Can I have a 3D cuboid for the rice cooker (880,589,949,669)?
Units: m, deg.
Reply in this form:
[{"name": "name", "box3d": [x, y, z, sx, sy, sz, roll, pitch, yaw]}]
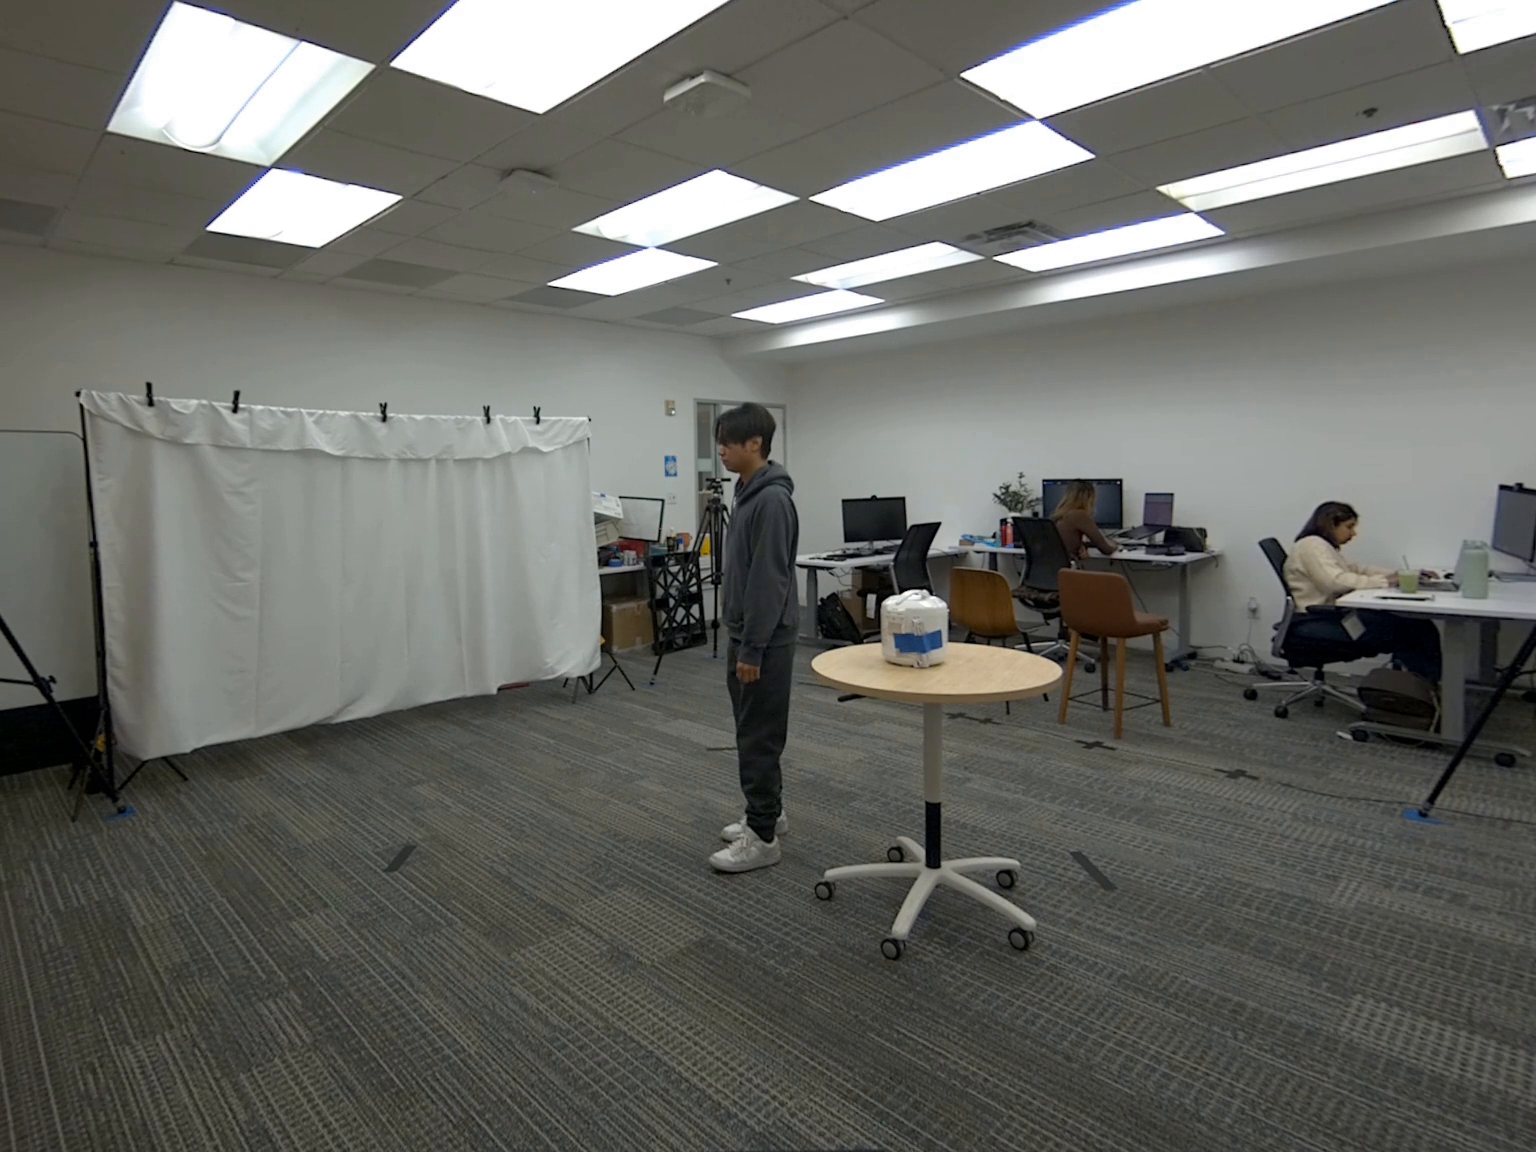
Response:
[{"name": "rice cooker", "box3d": [0.464, 0.160, 2.742, 0.215, 0.232, 0.224, -6, 7, -45]}]
